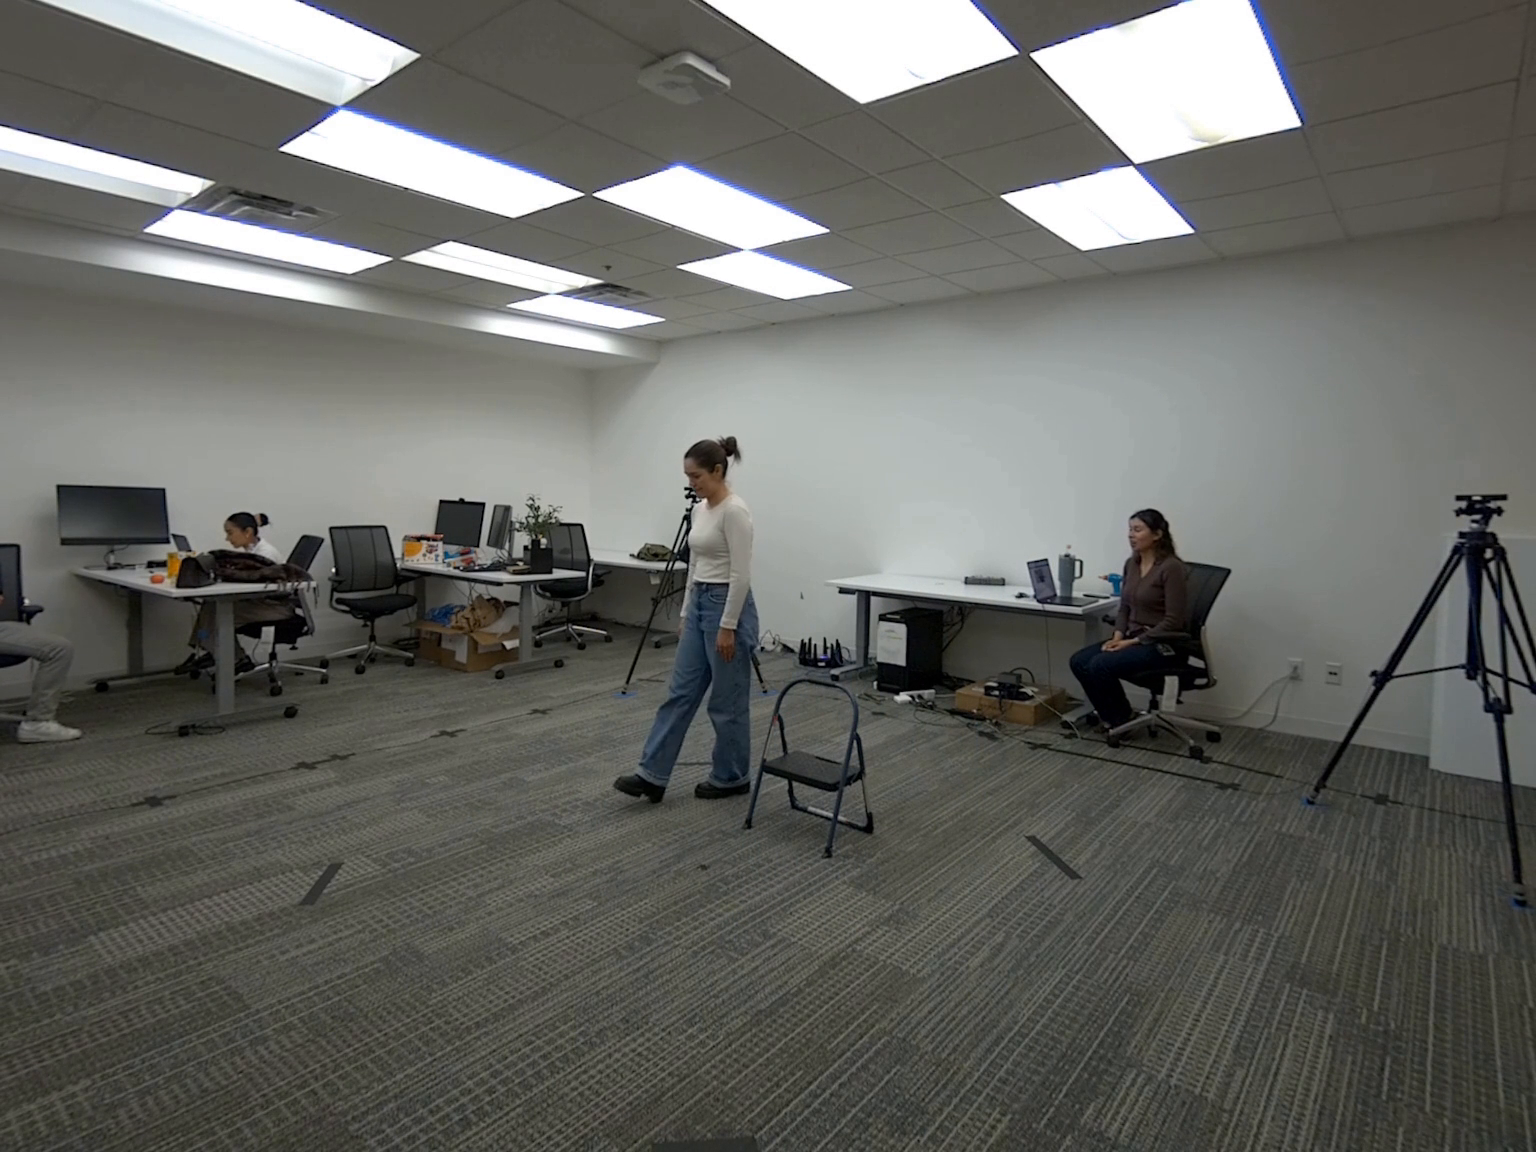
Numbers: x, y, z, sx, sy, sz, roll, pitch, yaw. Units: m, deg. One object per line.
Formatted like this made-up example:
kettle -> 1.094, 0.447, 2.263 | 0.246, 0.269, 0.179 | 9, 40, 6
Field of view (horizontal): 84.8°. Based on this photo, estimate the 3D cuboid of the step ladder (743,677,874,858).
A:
step ladder -> 0.167, 0.733, 3.461 | 0.445, 0.604, 0.339 | 4, 5, 39
